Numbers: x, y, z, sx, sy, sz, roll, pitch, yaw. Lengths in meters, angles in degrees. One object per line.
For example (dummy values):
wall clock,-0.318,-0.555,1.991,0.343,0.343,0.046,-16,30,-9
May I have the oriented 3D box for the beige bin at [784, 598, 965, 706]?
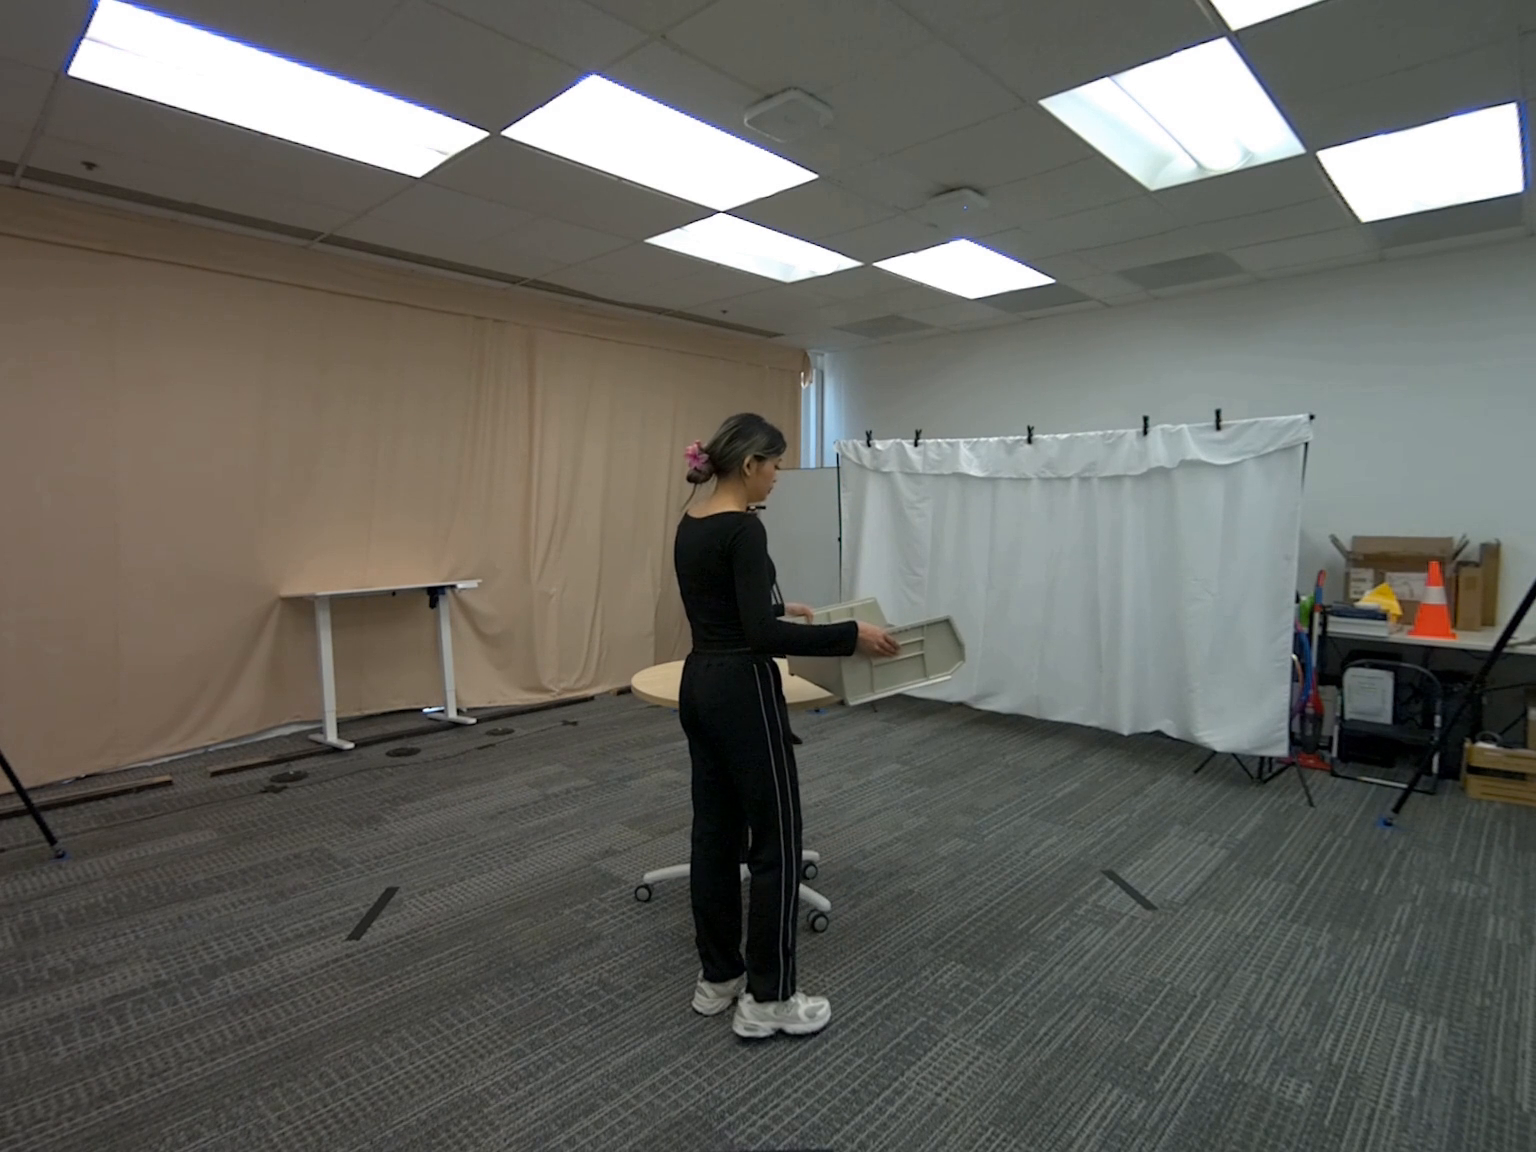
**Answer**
beige bin,0.296,0.201,2.425,0.371,0.188,0.432,-12,9,-18
